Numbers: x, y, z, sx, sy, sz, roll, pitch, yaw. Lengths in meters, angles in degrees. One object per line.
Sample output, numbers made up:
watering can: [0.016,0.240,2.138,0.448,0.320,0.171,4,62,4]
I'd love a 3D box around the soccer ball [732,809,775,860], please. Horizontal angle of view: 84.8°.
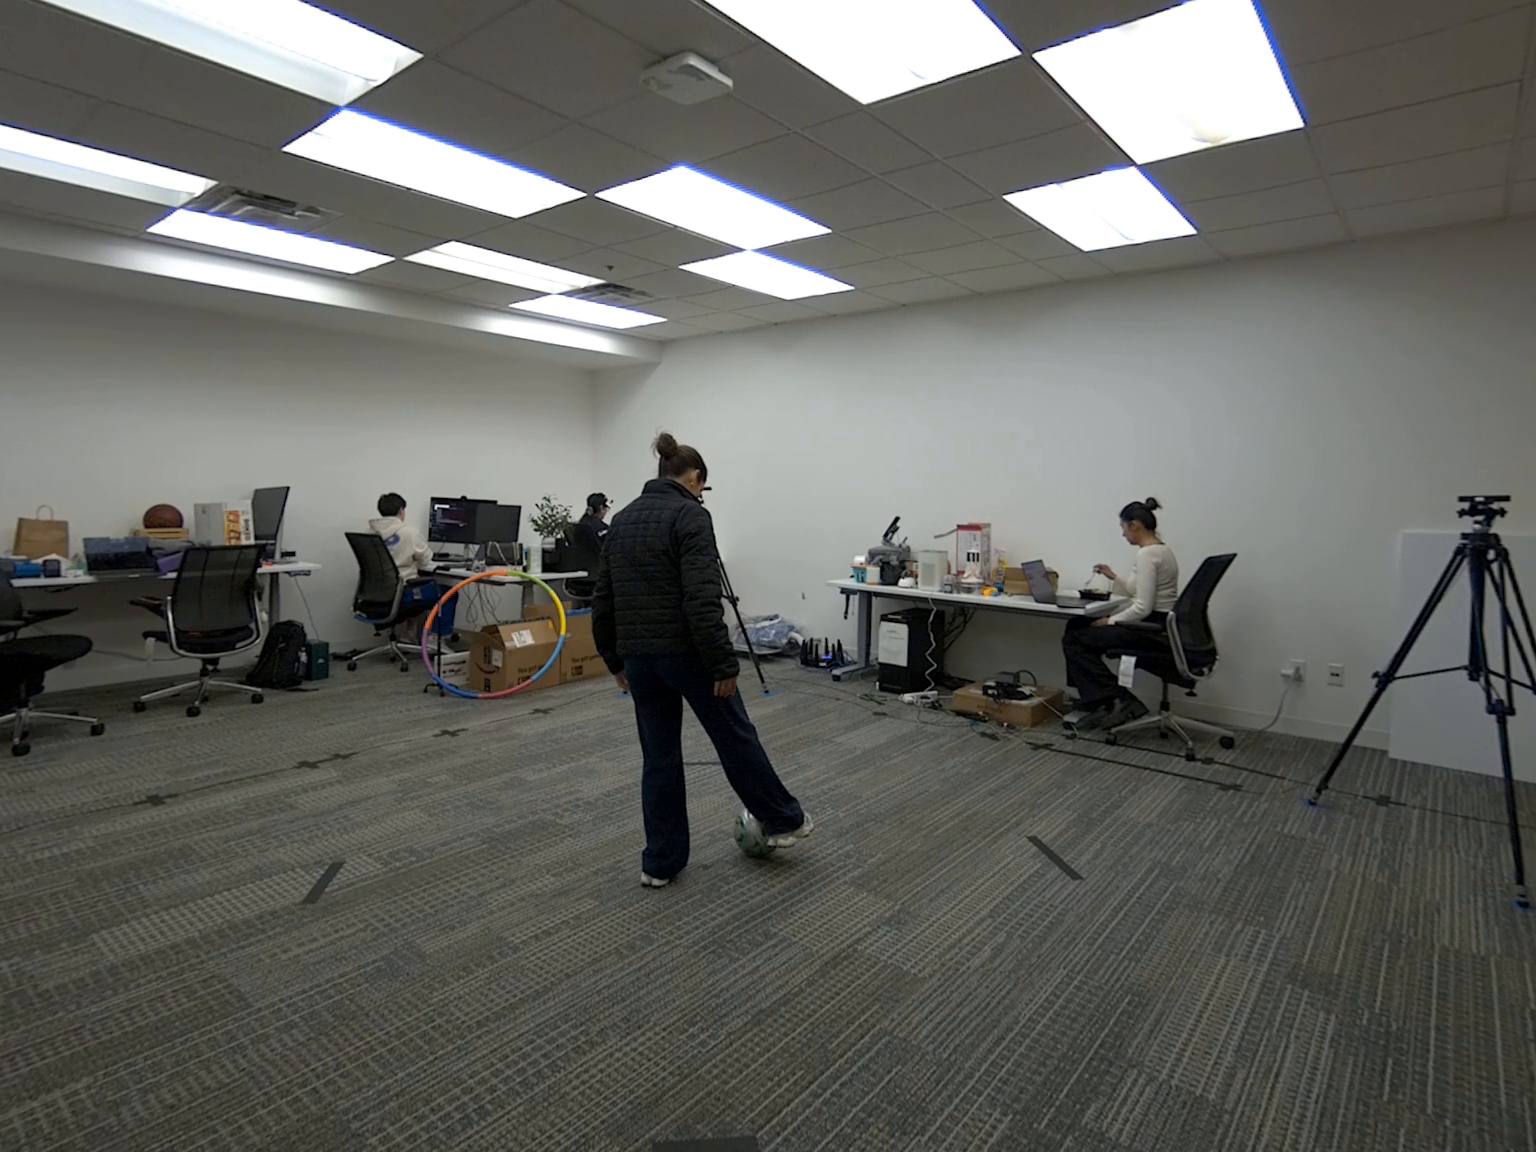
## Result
soccer ball: [-0.042,0.958,3.229,0.187,0.187,0.188,1,4,-2]
